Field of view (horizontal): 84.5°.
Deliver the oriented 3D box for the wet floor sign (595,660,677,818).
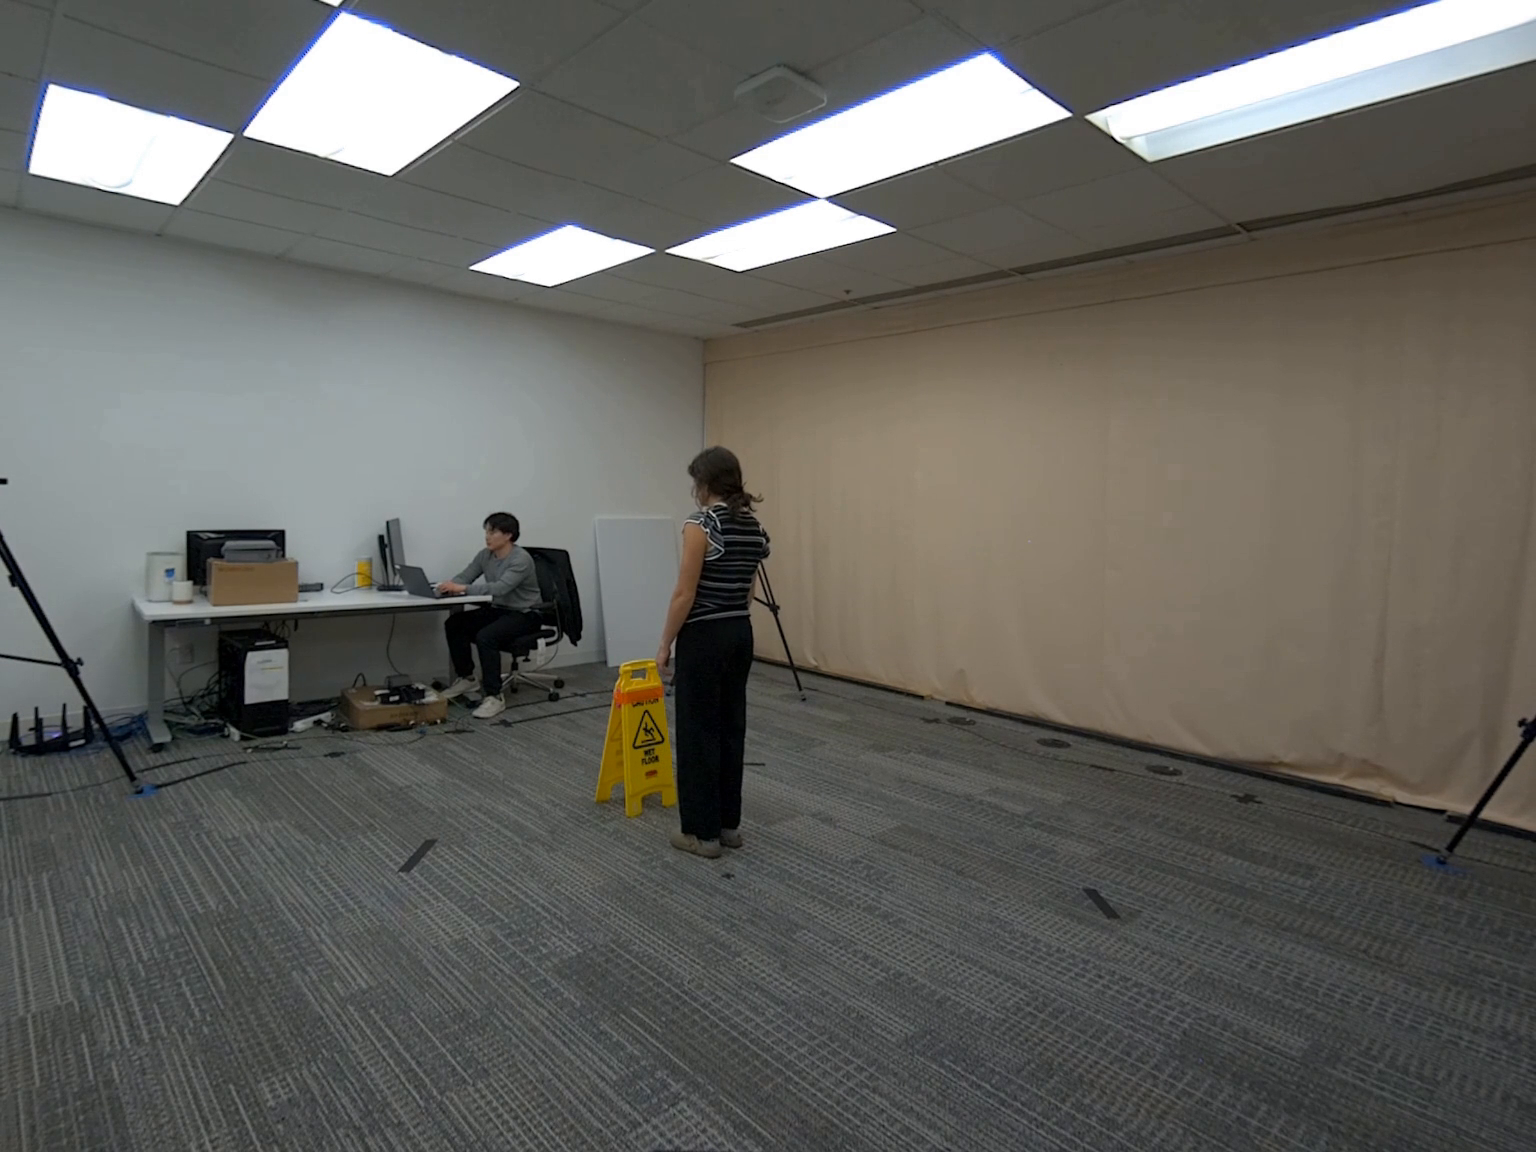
[{"bbox_3d":[-0.604,0.711,3.818,0.297,0.645,0.275,3,3,44],"label":"wet floor sign"}]
